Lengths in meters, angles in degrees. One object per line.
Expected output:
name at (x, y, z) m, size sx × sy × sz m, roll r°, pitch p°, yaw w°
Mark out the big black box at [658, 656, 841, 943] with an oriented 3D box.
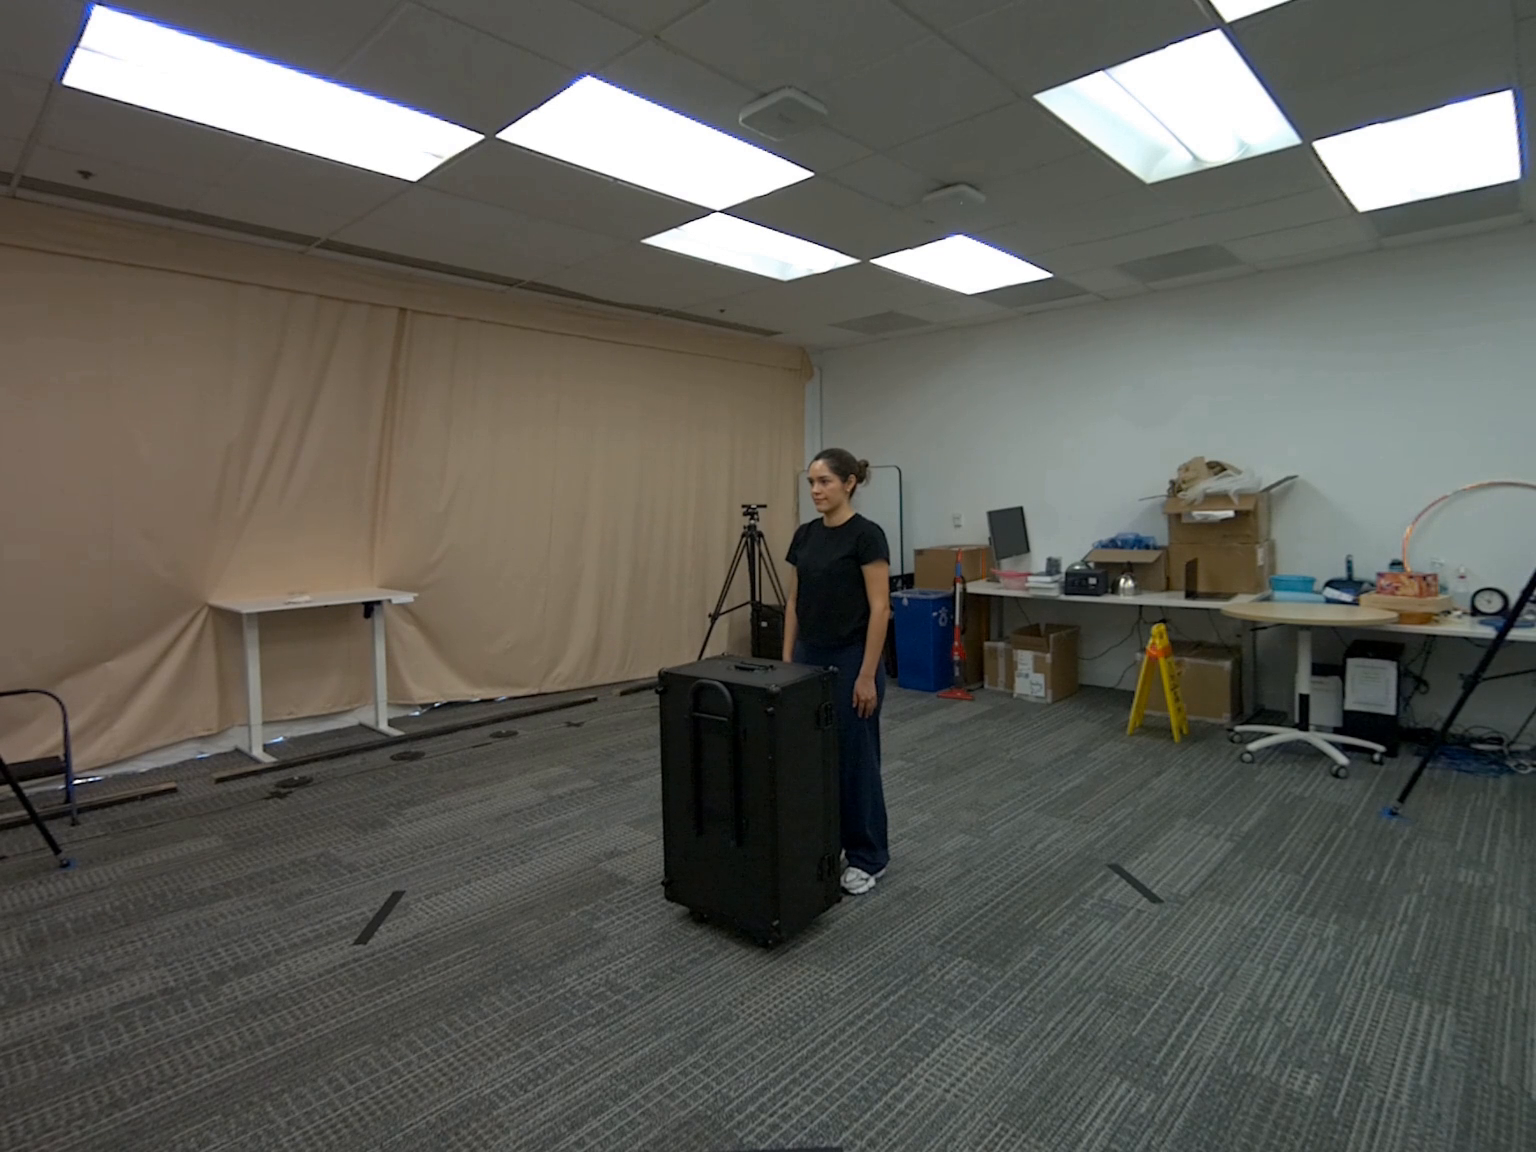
big black box at (-0.047, 0.735, 2.789) m, size 0.538 × 0.859 × 0.385 m, roll 2°, pitch 6°, yaw 38°
